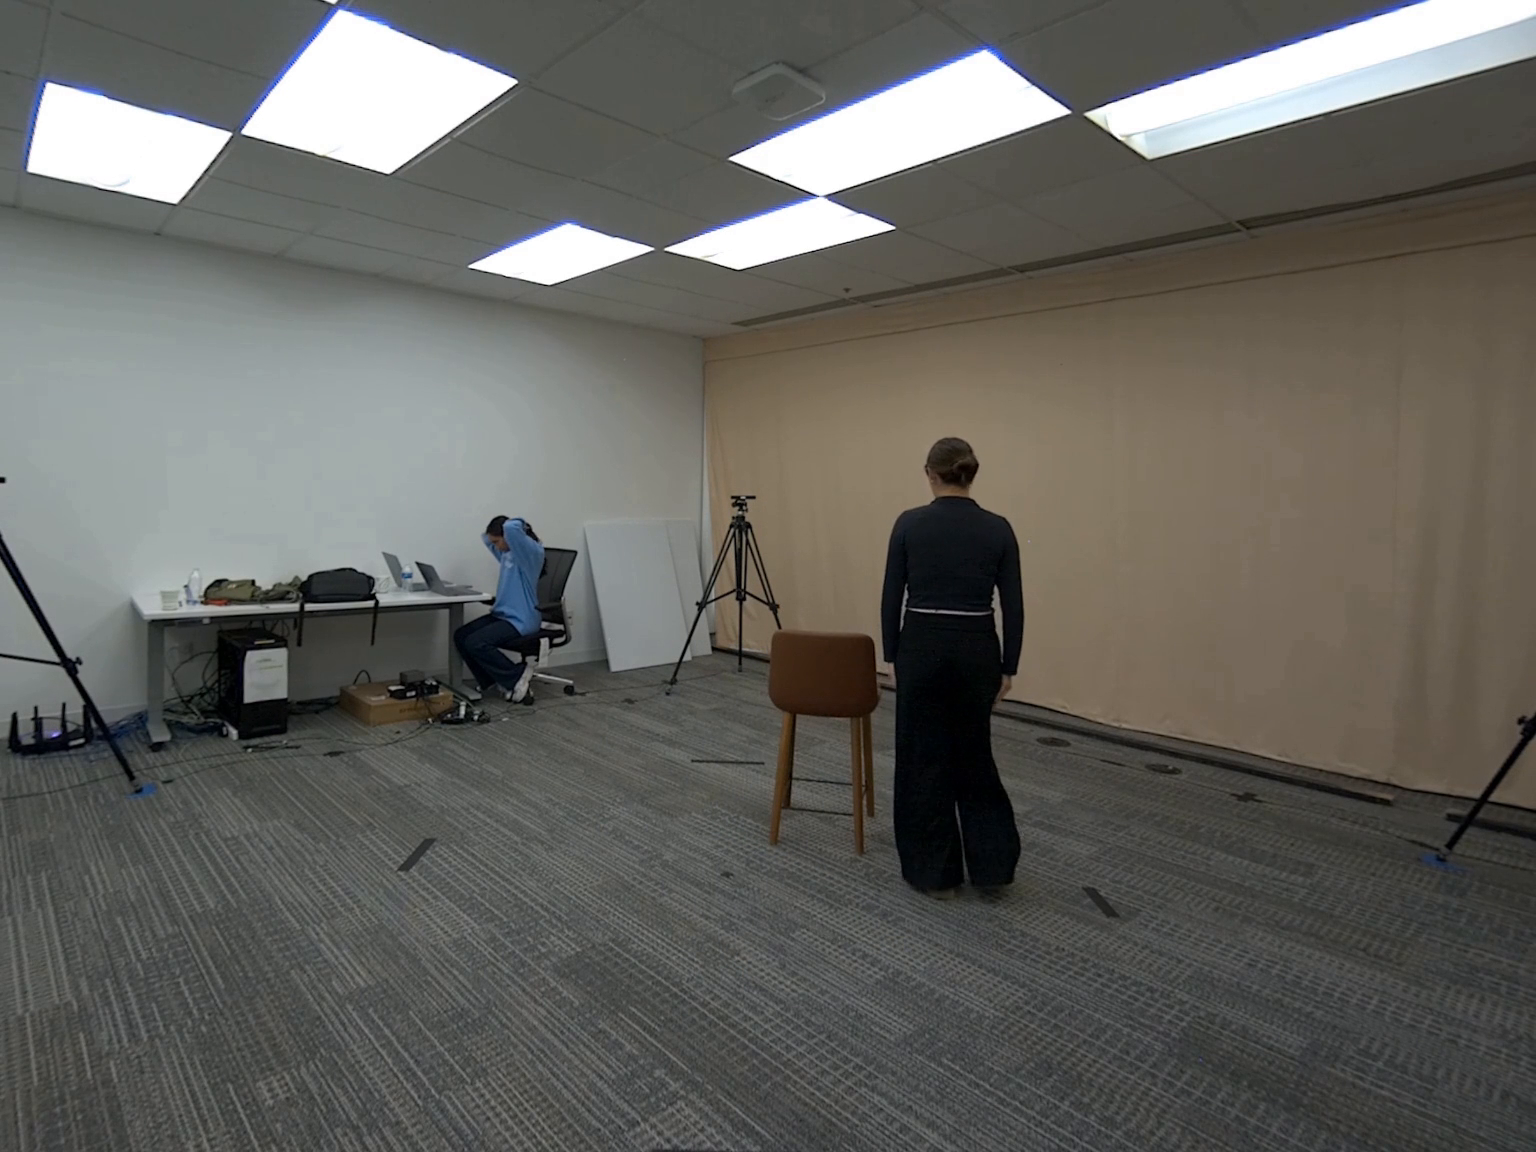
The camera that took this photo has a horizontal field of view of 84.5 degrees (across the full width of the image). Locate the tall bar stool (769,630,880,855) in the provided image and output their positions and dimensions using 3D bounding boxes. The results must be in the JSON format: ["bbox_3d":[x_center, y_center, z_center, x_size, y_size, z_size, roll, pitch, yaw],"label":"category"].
[{"bbox_3d":[0.233,0.640,3.540,0.462,0.887,0.464,2,4,13],"label":"tall bar stool"}]
